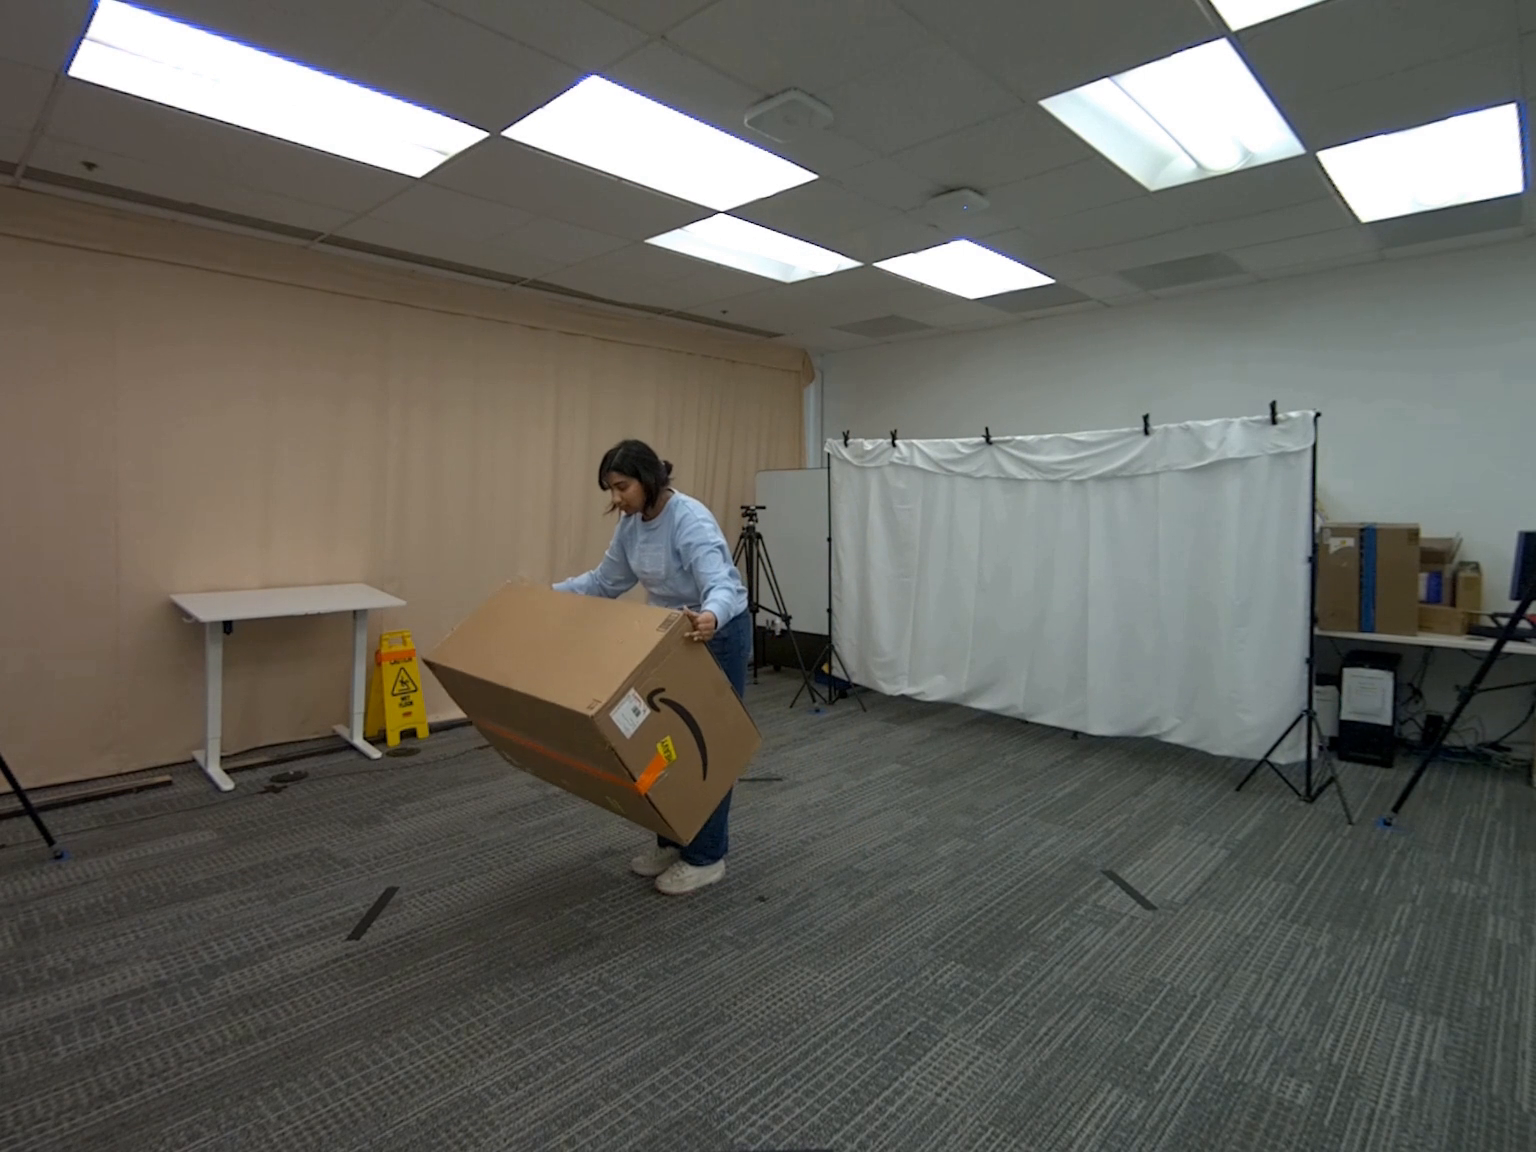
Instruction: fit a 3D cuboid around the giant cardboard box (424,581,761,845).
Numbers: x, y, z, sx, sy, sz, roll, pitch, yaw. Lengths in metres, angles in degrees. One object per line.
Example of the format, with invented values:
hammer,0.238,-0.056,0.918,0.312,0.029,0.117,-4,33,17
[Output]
giant cardboard box,-0.617,0.415,2.832,1.061,0.562,0.423,6,44,44
